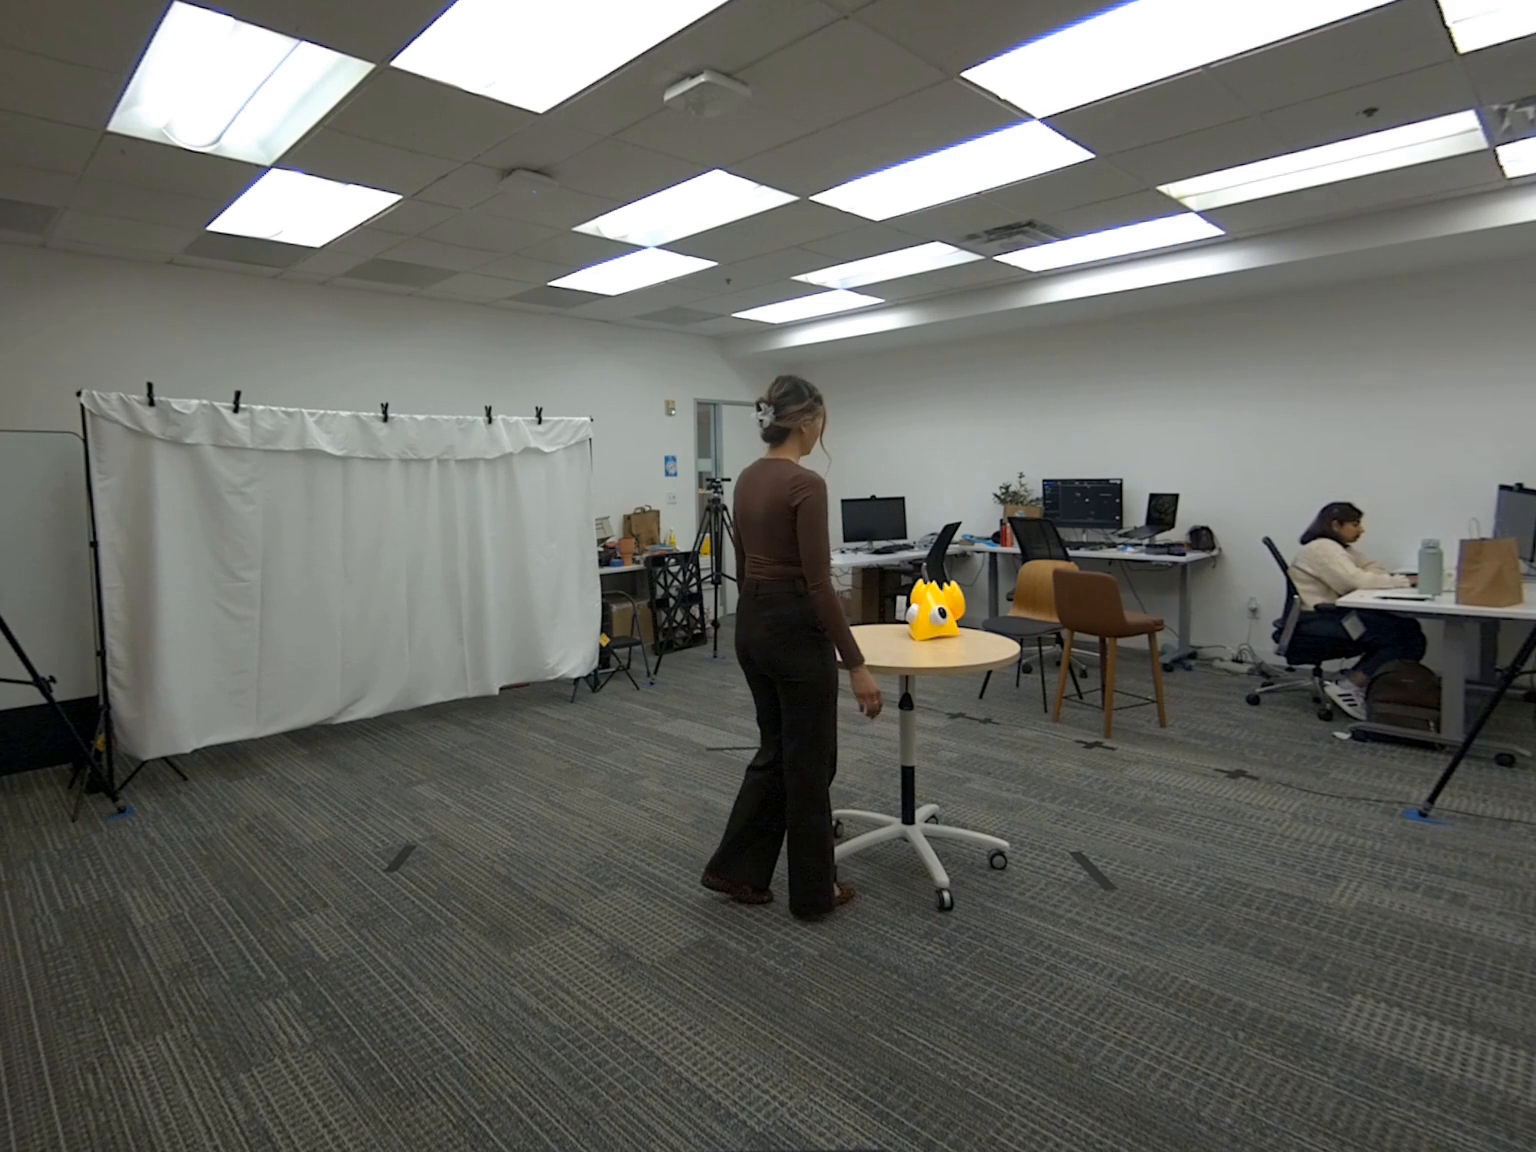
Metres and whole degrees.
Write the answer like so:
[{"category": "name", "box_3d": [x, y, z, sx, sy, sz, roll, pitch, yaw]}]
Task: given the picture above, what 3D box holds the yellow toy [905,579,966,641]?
[{"category": "yellow toy", "box_3d": [0.597, 0.140, 3.163, 0.210, 0.190, 0.228, 2, 20, 35]}]
